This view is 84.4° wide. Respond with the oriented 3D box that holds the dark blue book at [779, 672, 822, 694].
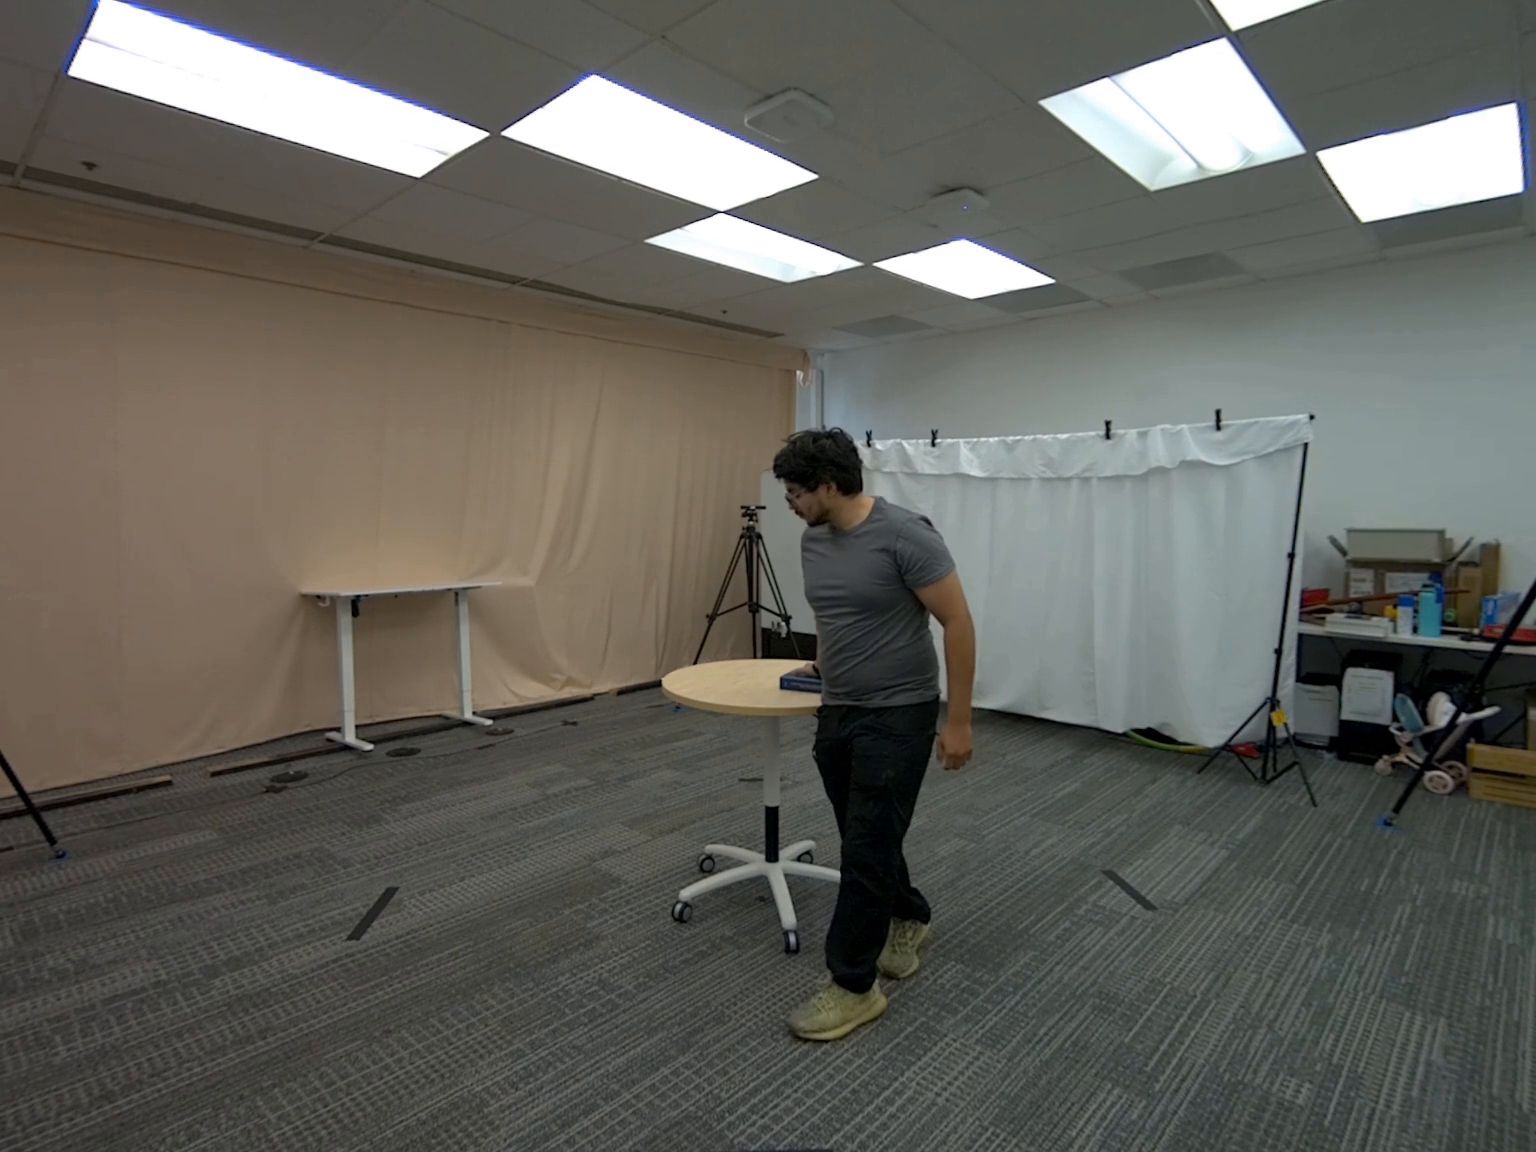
[{"bbox_3d":[0.179,0.356,2.800,0.251,0.045,0.160,1,5,24],"label":"dark blue book"}]
